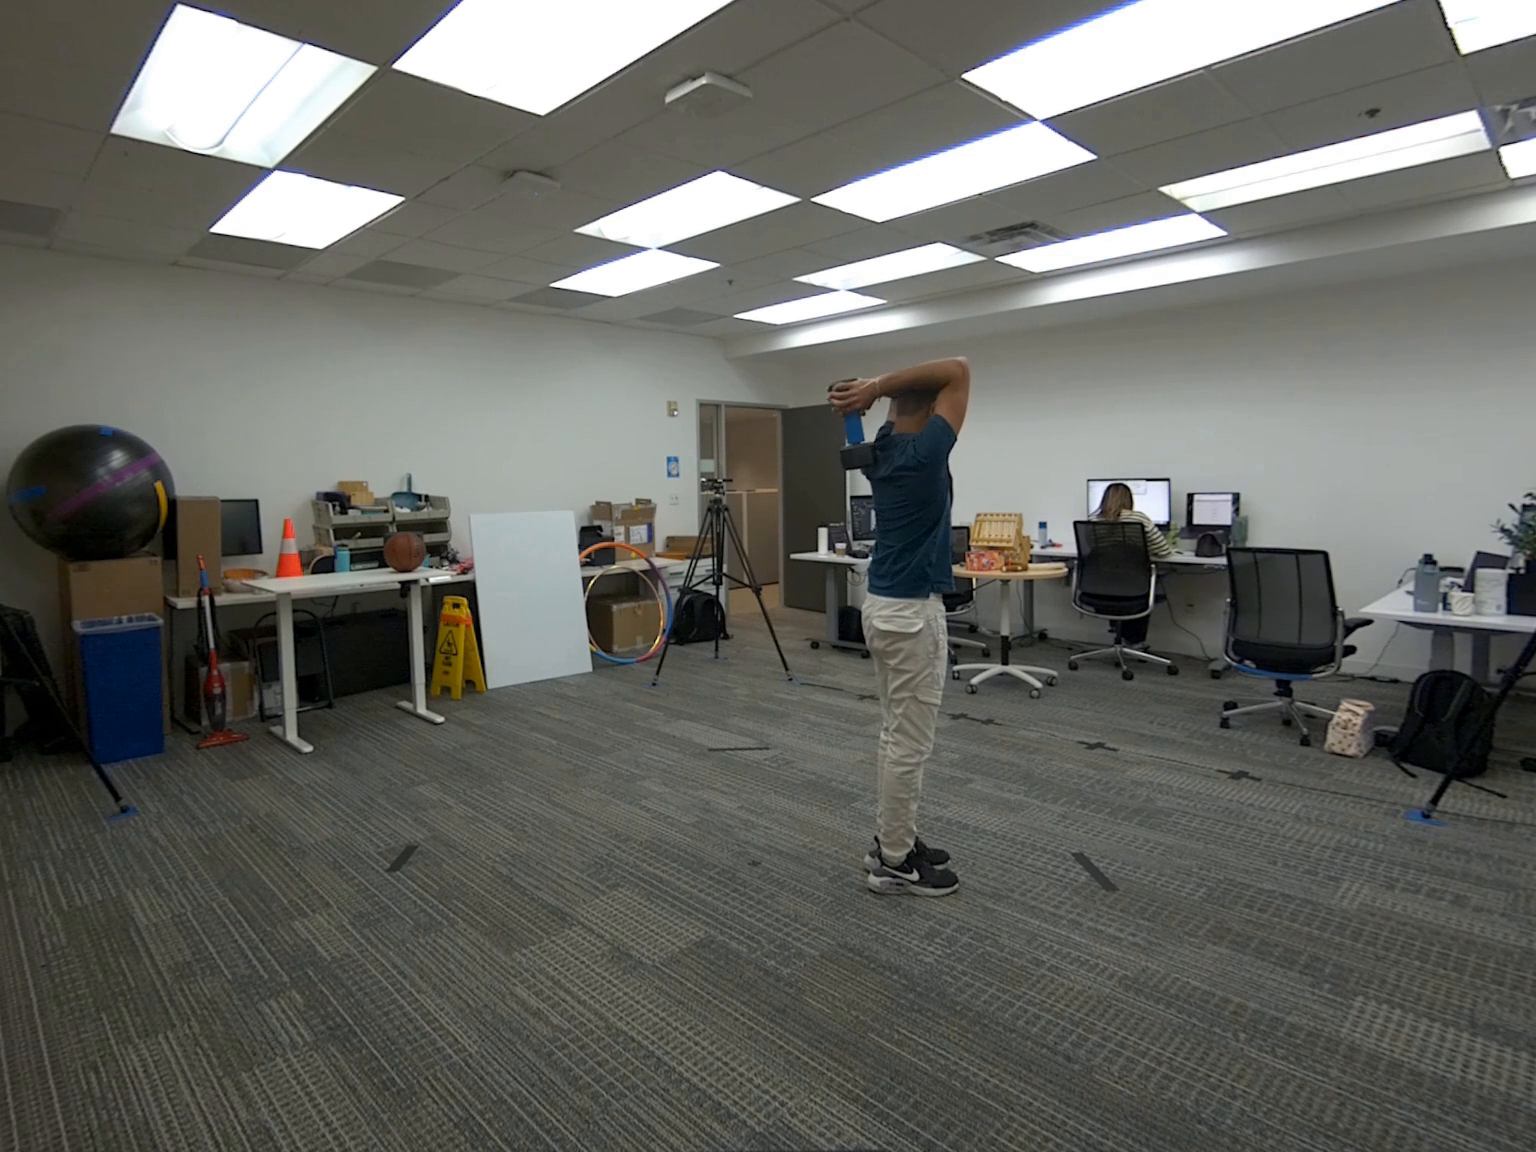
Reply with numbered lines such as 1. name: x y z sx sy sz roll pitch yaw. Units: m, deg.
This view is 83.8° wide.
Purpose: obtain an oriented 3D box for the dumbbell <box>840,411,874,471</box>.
1. dumbbell: 0.301 -0.506 2.810 0.122 0.292 0.110 -8 5 -5
